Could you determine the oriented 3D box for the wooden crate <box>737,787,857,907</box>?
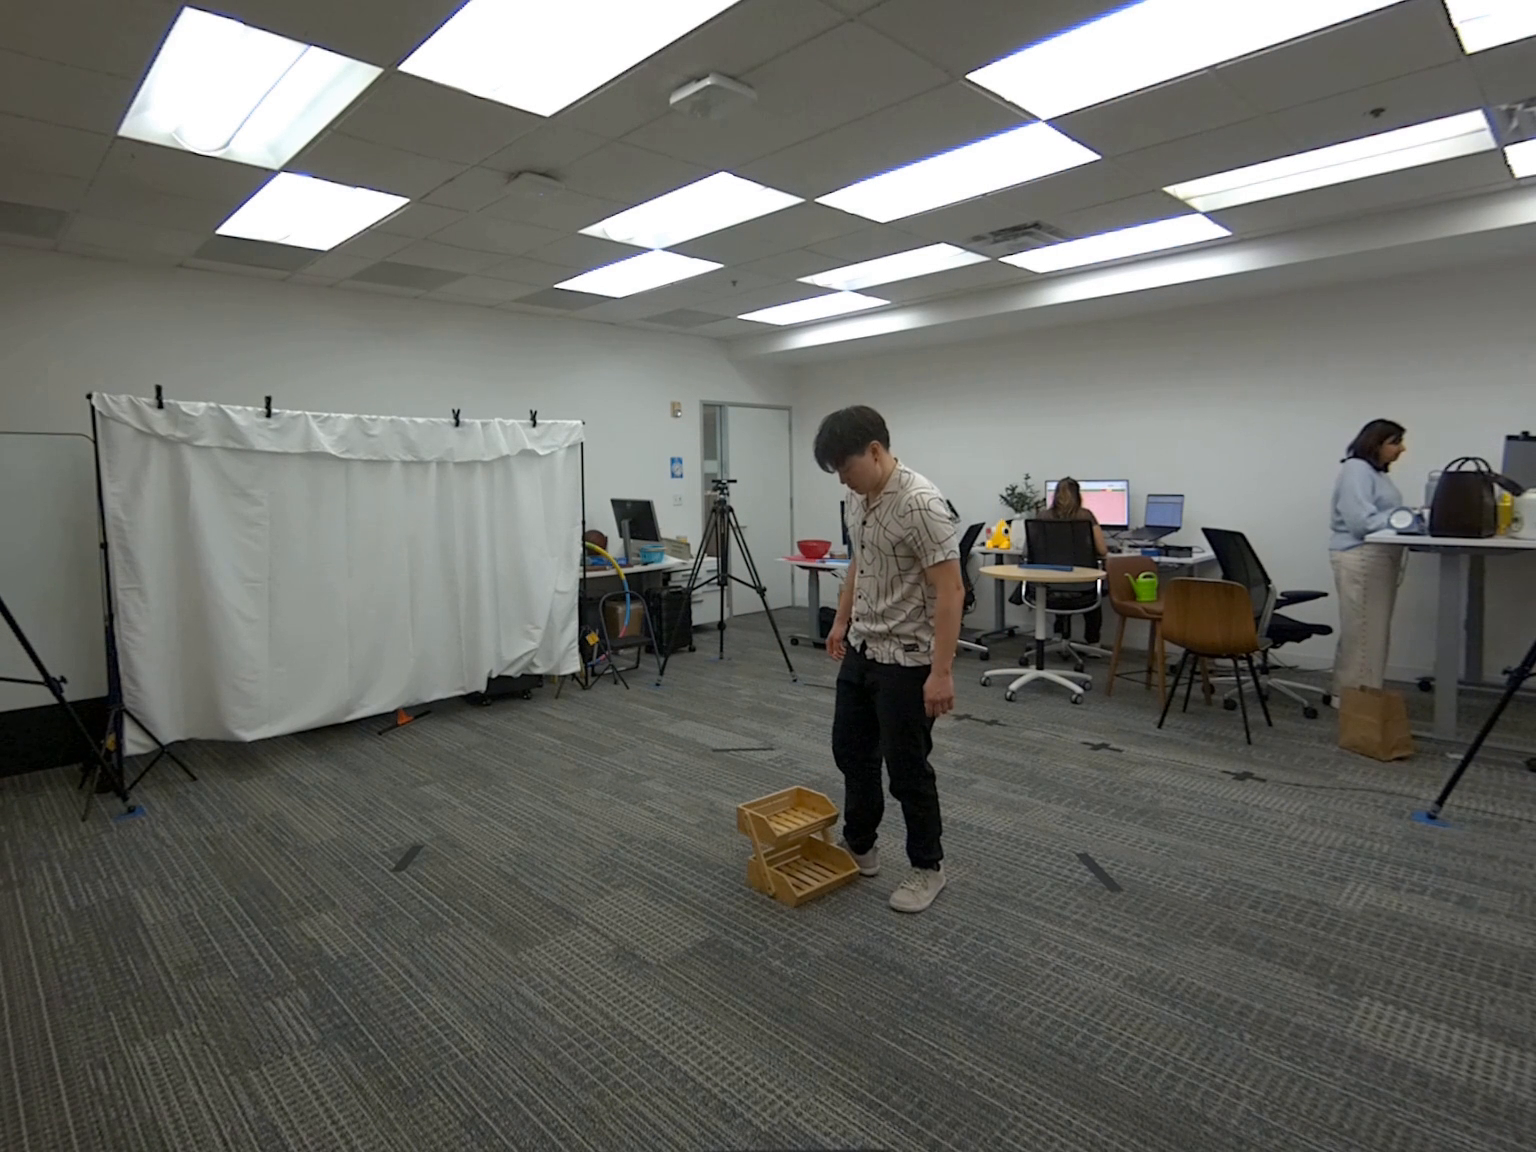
[{"bbox_3d":[0.114,0.925,2.970,0.316,0.272,0.311,-5,6,-41],"label":"wooden crate"}]
